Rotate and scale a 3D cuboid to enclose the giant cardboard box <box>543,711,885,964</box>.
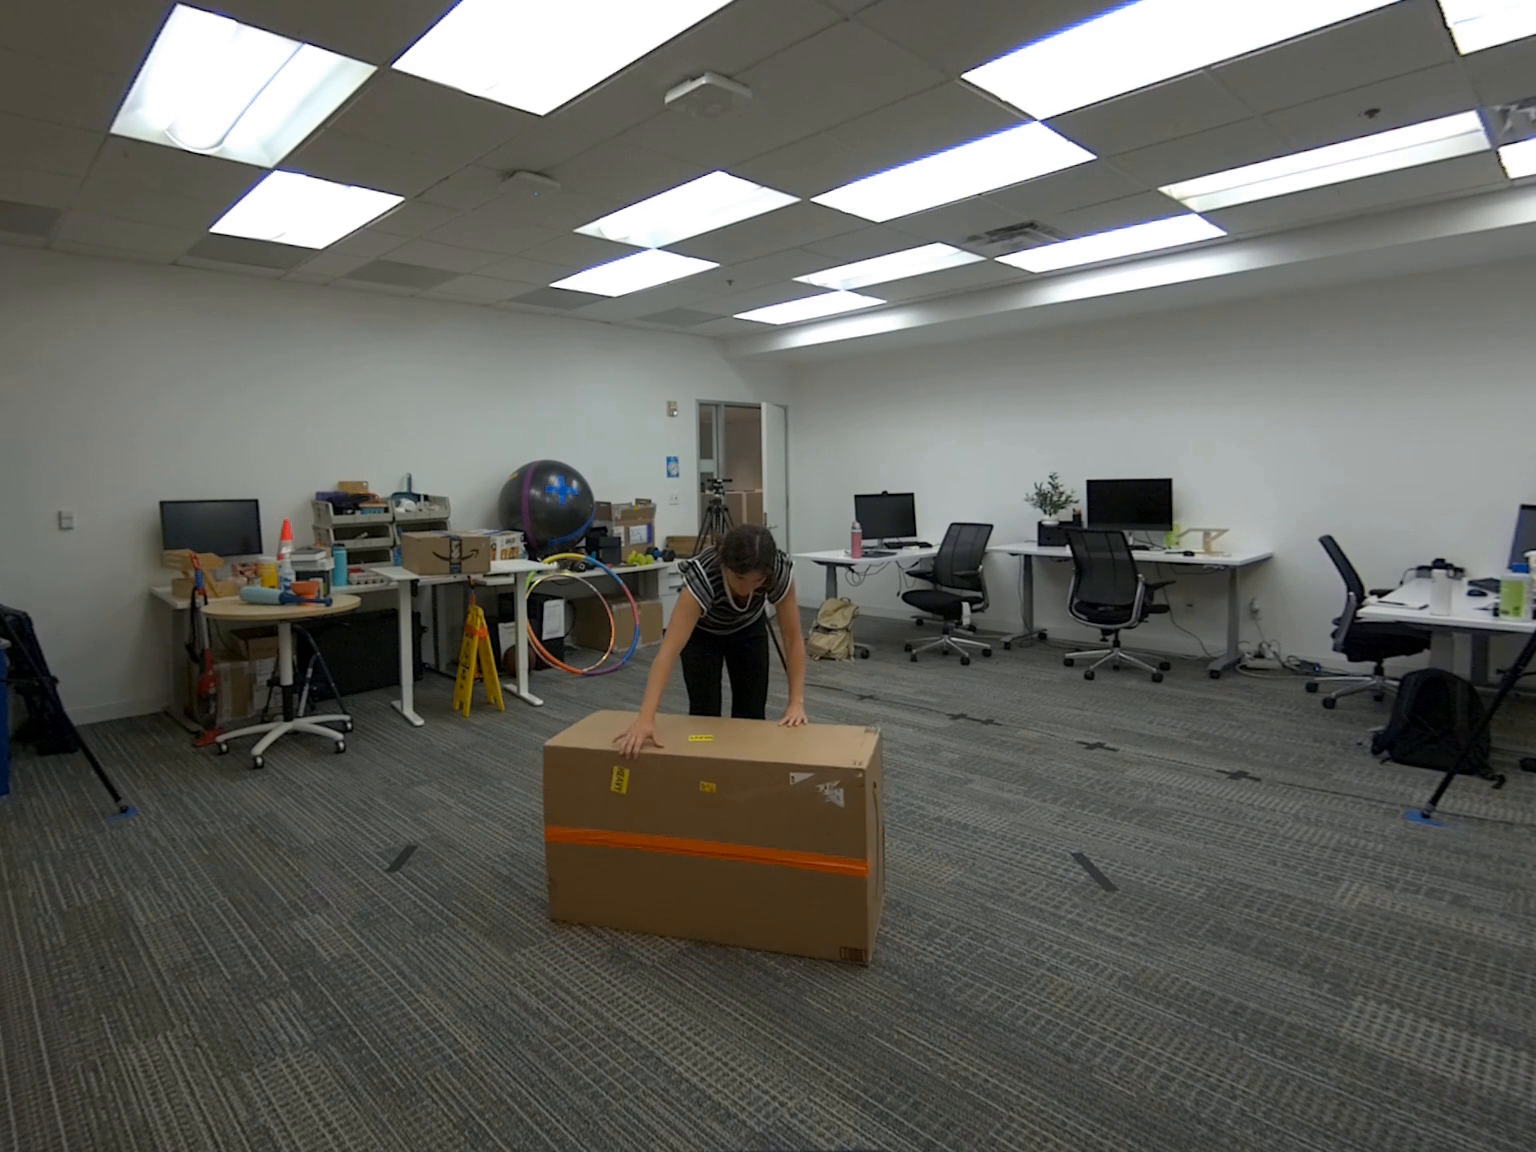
[{"bbox_3d":[-0.166,0.792,2.762,1.042,0.575,0.421,0,4,16],"label":"giant cardboard box"}]
